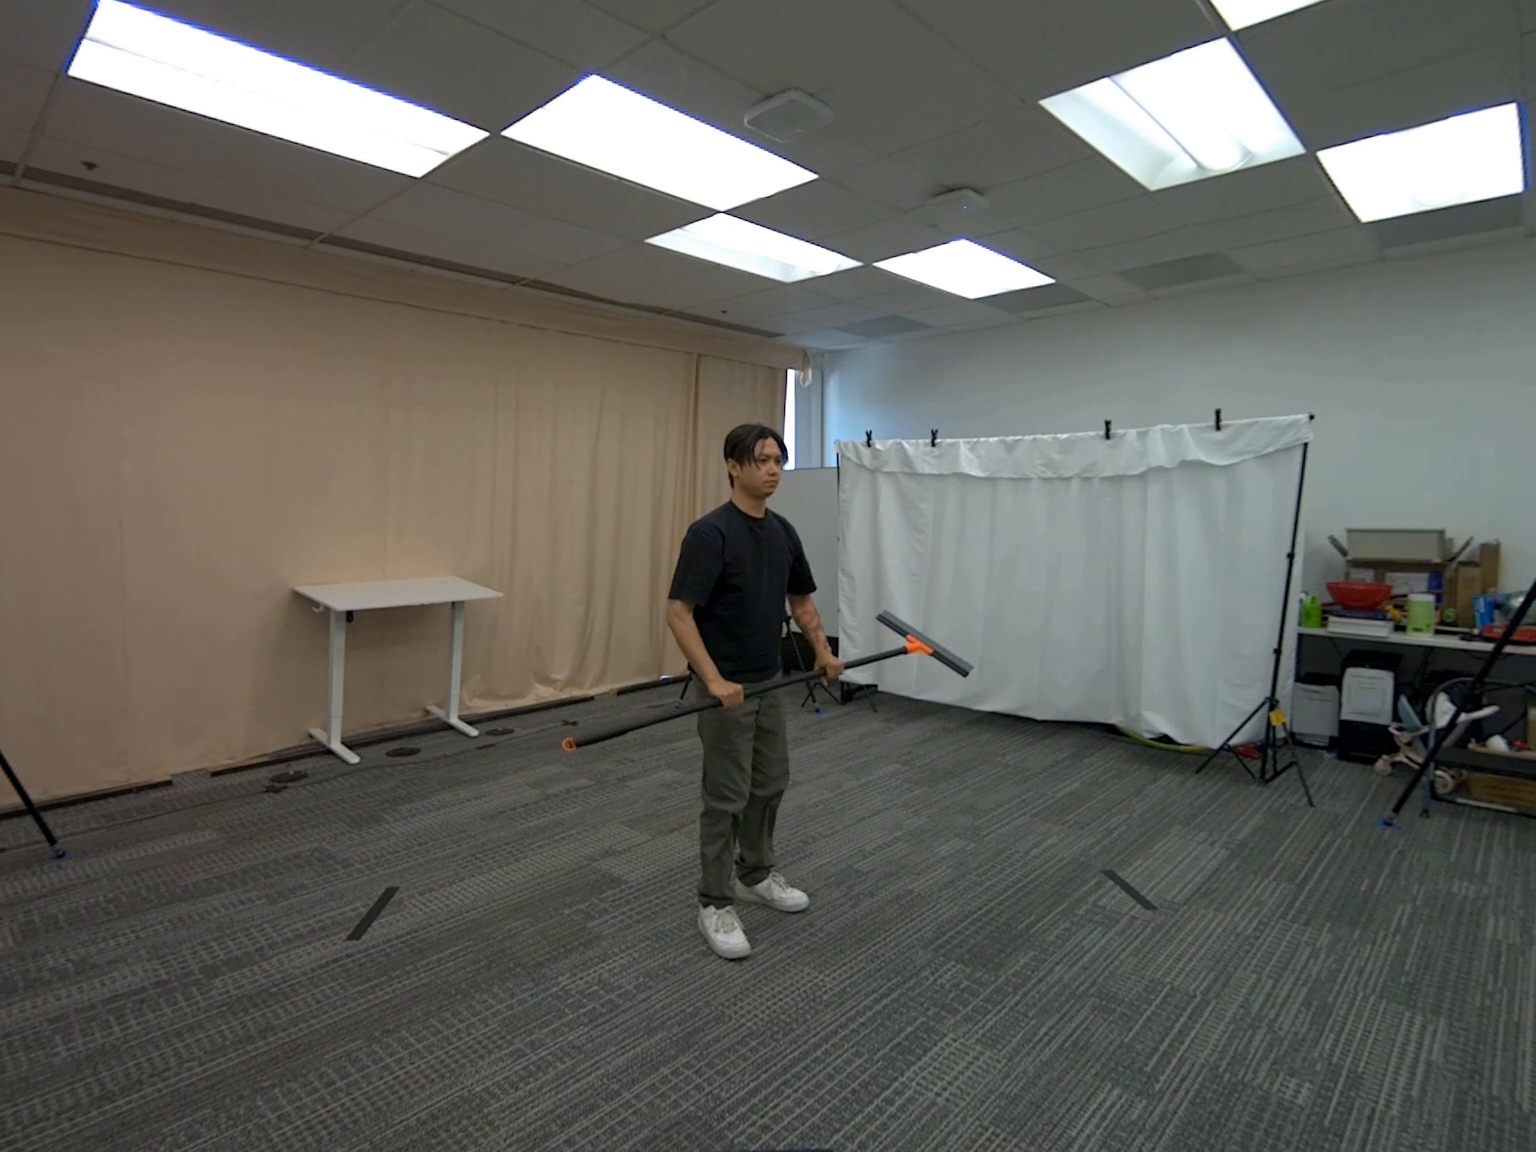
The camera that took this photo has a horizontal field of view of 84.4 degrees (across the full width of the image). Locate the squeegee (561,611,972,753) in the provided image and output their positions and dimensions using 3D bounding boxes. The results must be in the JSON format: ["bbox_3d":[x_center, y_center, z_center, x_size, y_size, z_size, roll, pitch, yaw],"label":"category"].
[{"bbox_3d":[0.047,0.355,2.691,1.495,0.052,0.453,-11,37,-39],"label":"squeegee"}]
